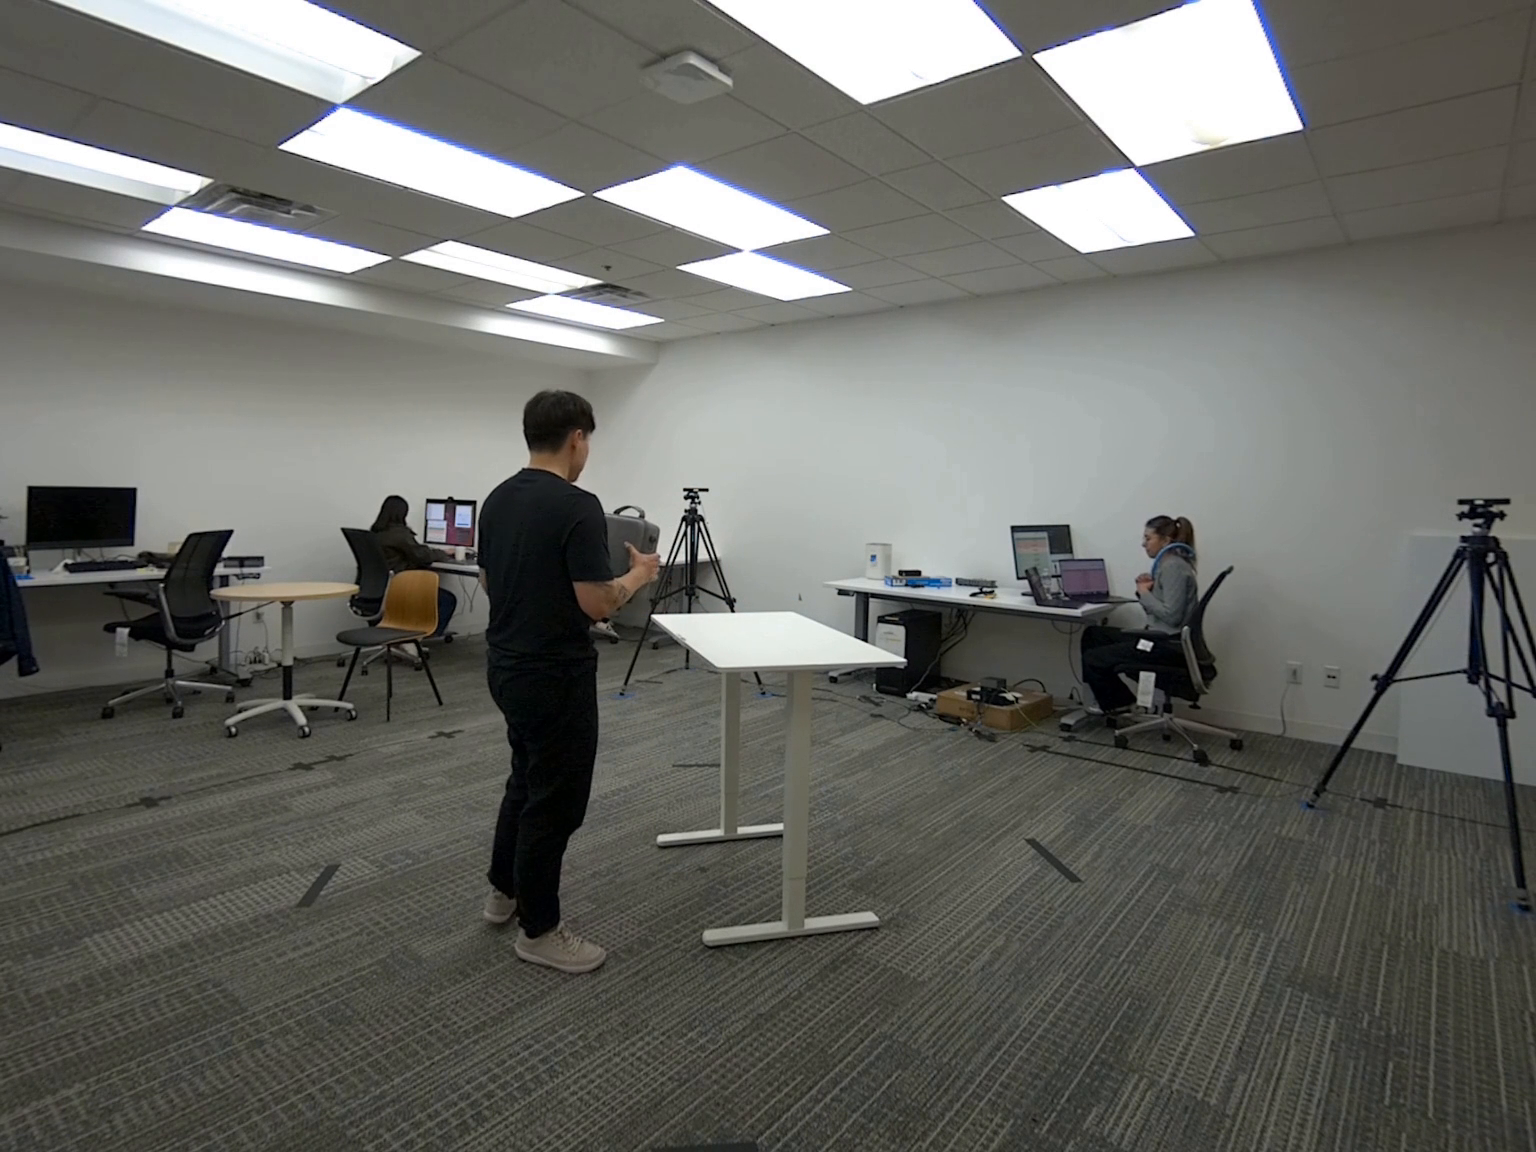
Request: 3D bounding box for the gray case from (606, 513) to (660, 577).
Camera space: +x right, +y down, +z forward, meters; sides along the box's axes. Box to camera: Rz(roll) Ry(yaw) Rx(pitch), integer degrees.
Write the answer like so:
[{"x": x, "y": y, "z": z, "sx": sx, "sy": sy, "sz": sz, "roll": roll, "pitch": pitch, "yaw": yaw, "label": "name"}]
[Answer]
[{"x": -0.484, "y": -0.062, "z": 2.642, "sx": 0.266, "sy": 0.261, "sz": 0.100, "roll": 10, "pitch": -5, "yaw": 37, "label": "gray case"}]
